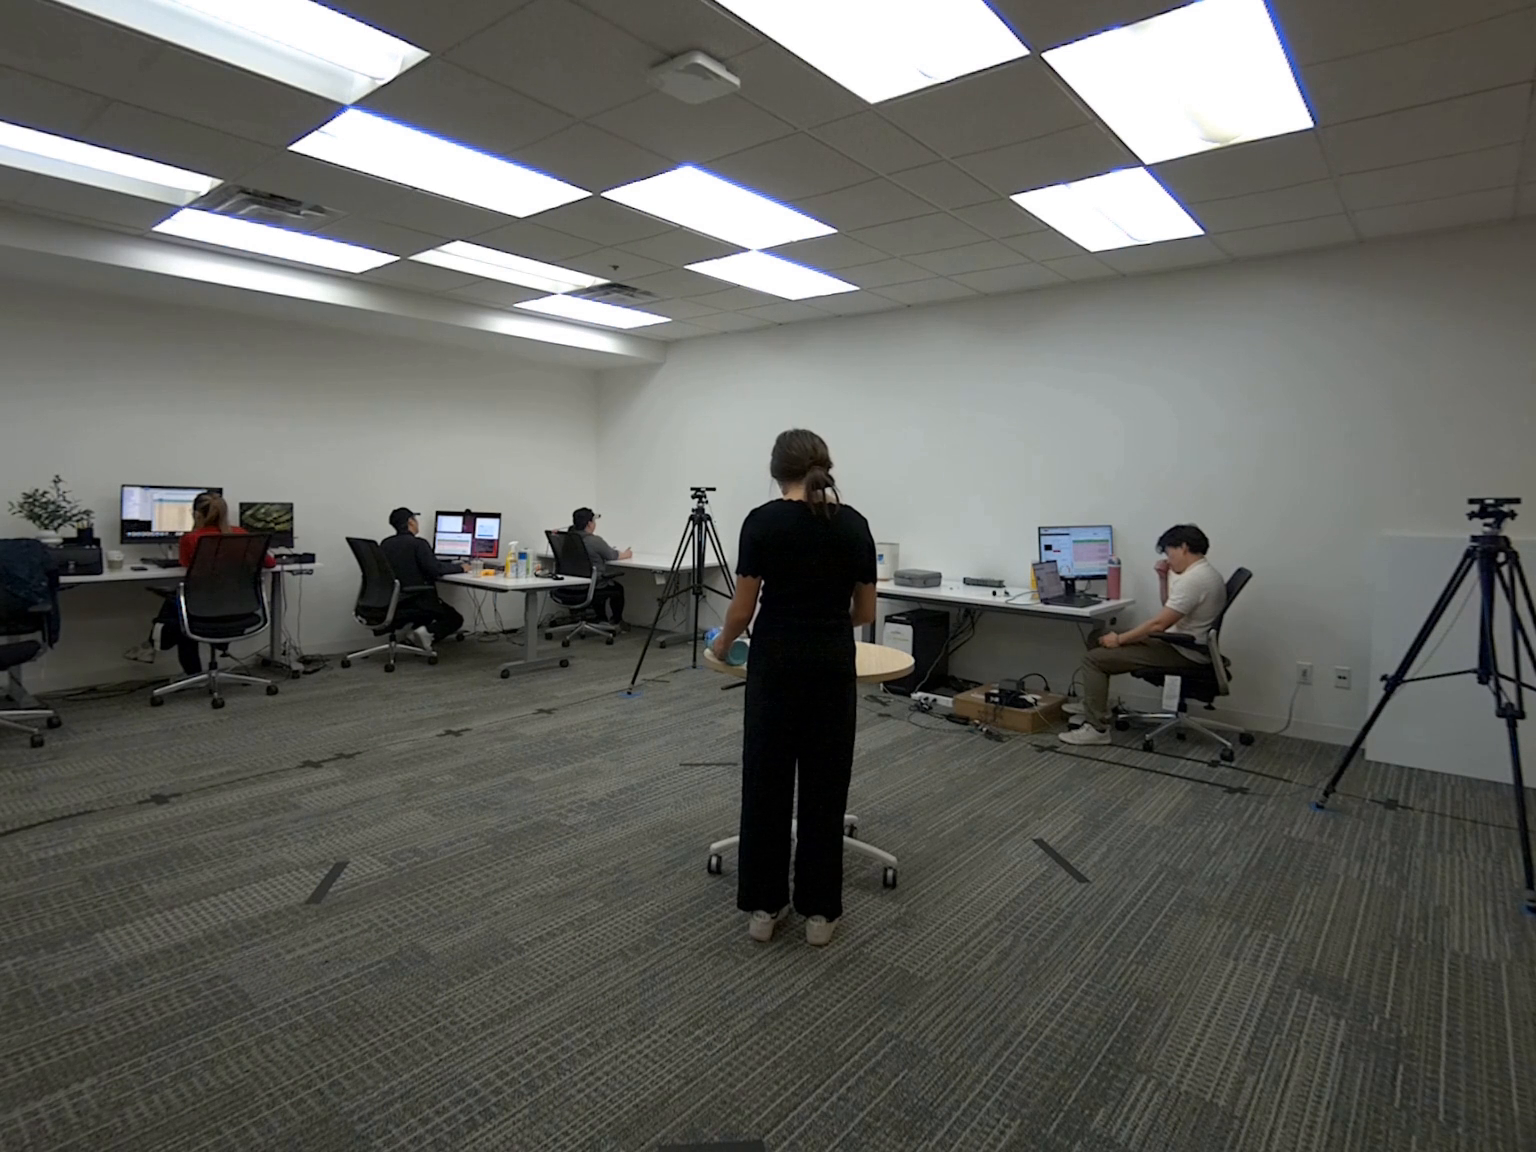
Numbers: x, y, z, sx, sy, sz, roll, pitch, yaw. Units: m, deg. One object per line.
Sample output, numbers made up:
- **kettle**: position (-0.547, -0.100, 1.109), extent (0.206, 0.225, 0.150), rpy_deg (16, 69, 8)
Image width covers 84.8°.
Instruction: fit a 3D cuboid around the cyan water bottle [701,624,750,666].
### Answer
- **cyan water bottle**: position (-0.151, 0.244, 3.020), extent (0.090, 0.092, 0.291), rpy_deg (-1, 6, -23)
